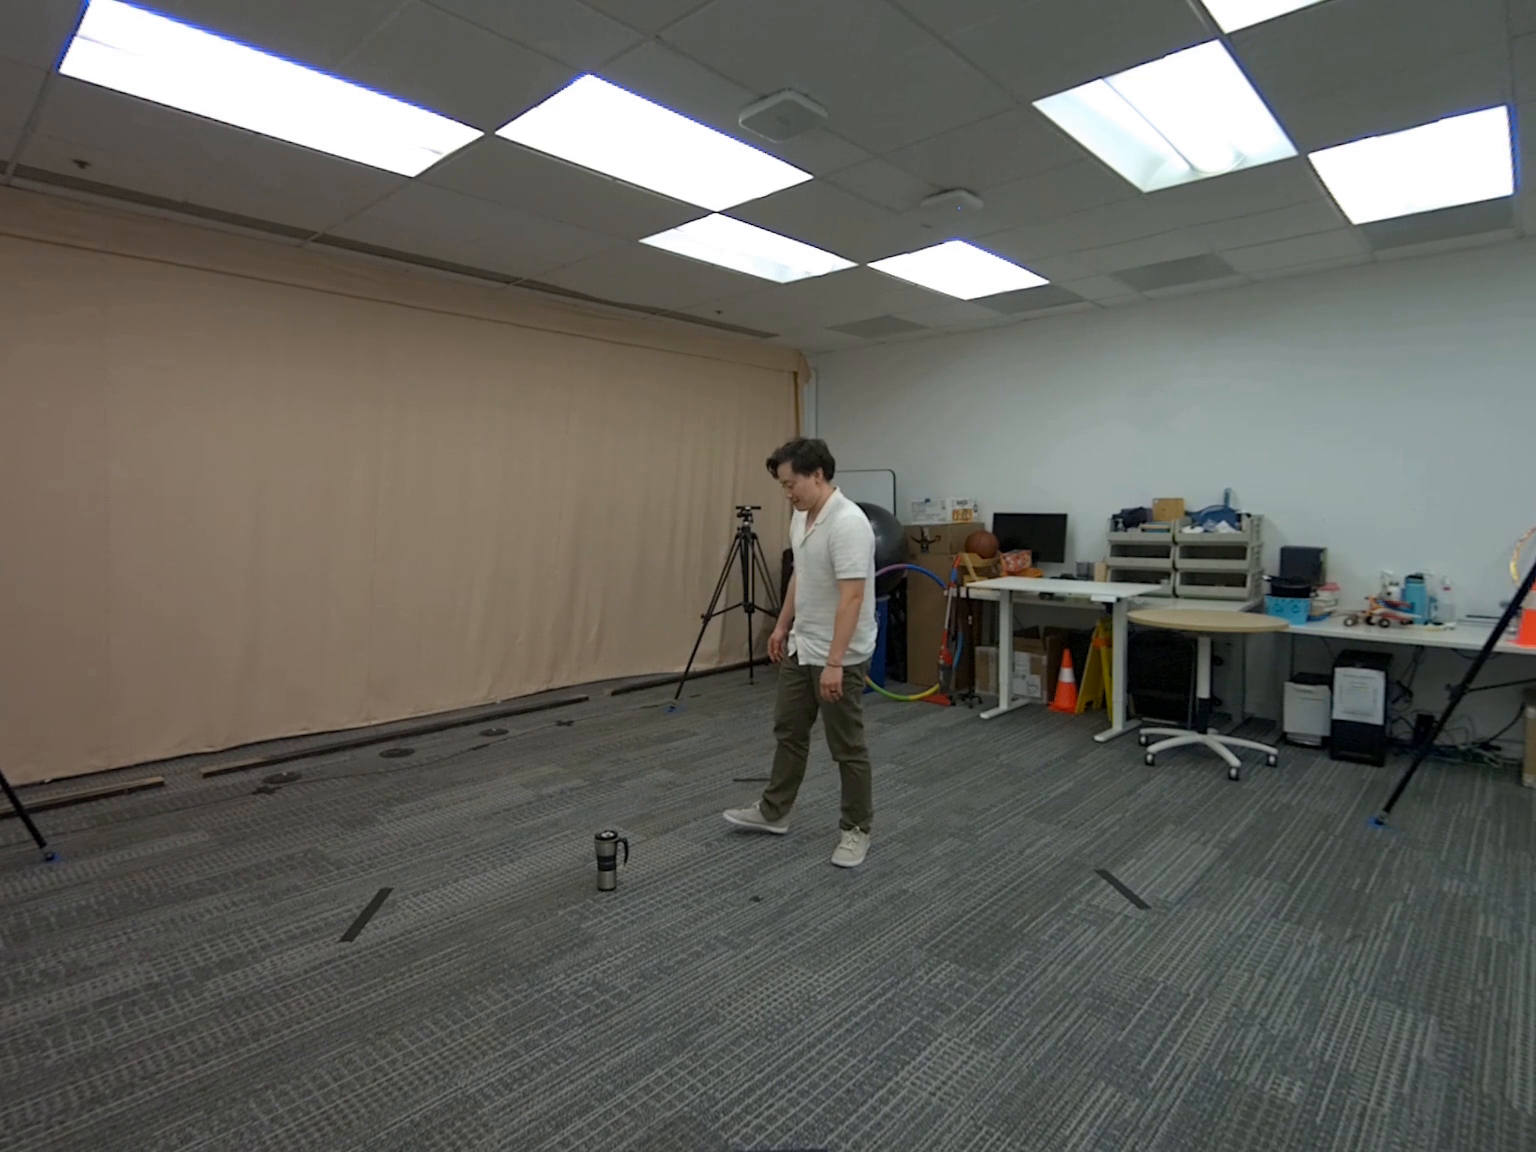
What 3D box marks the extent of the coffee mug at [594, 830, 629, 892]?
[{"bbox_3d":[-0.574,1.046,3.062,0.126,0.203,0.085,-3,-3,37],"label":"coffee mug"}]
